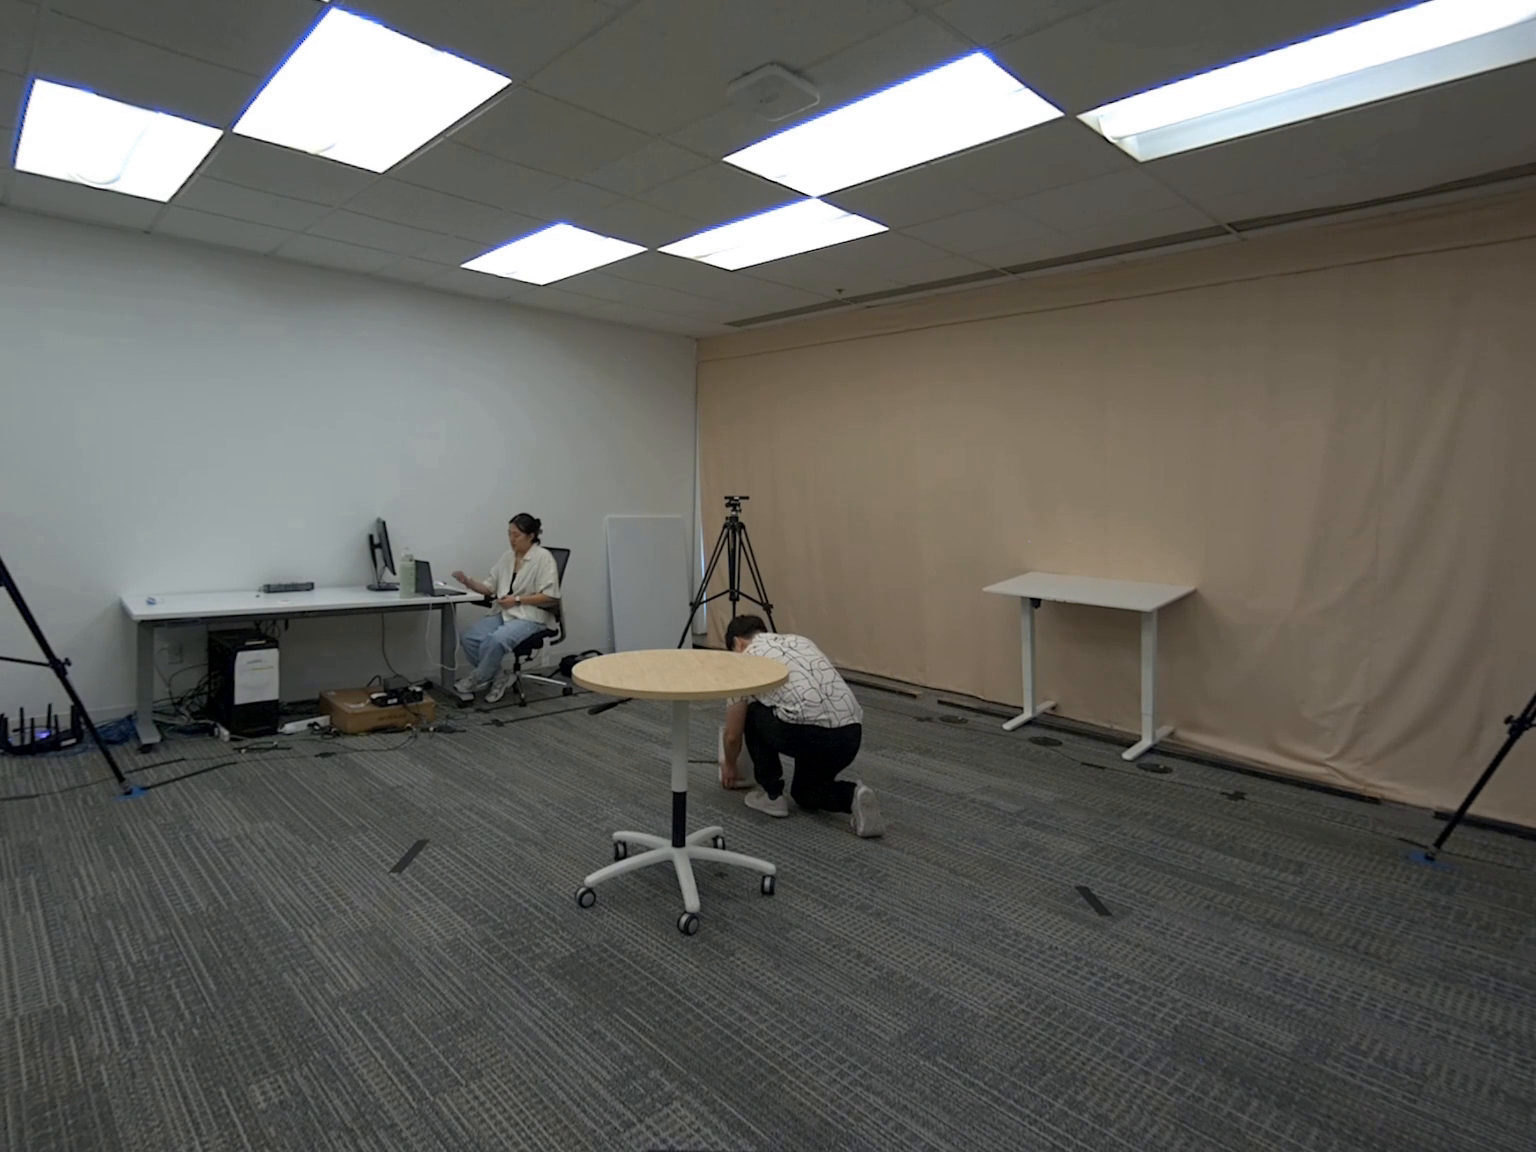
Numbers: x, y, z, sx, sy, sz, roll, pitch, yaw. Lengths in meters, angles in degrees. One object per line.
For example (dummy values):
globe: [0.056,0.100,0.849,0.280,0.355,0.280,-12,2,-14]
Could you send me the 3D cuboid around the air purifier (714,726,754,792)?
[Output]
air purifier: [-0.159,0.883,4.116,0.170,0.265,0.173,-1,2,-15]
